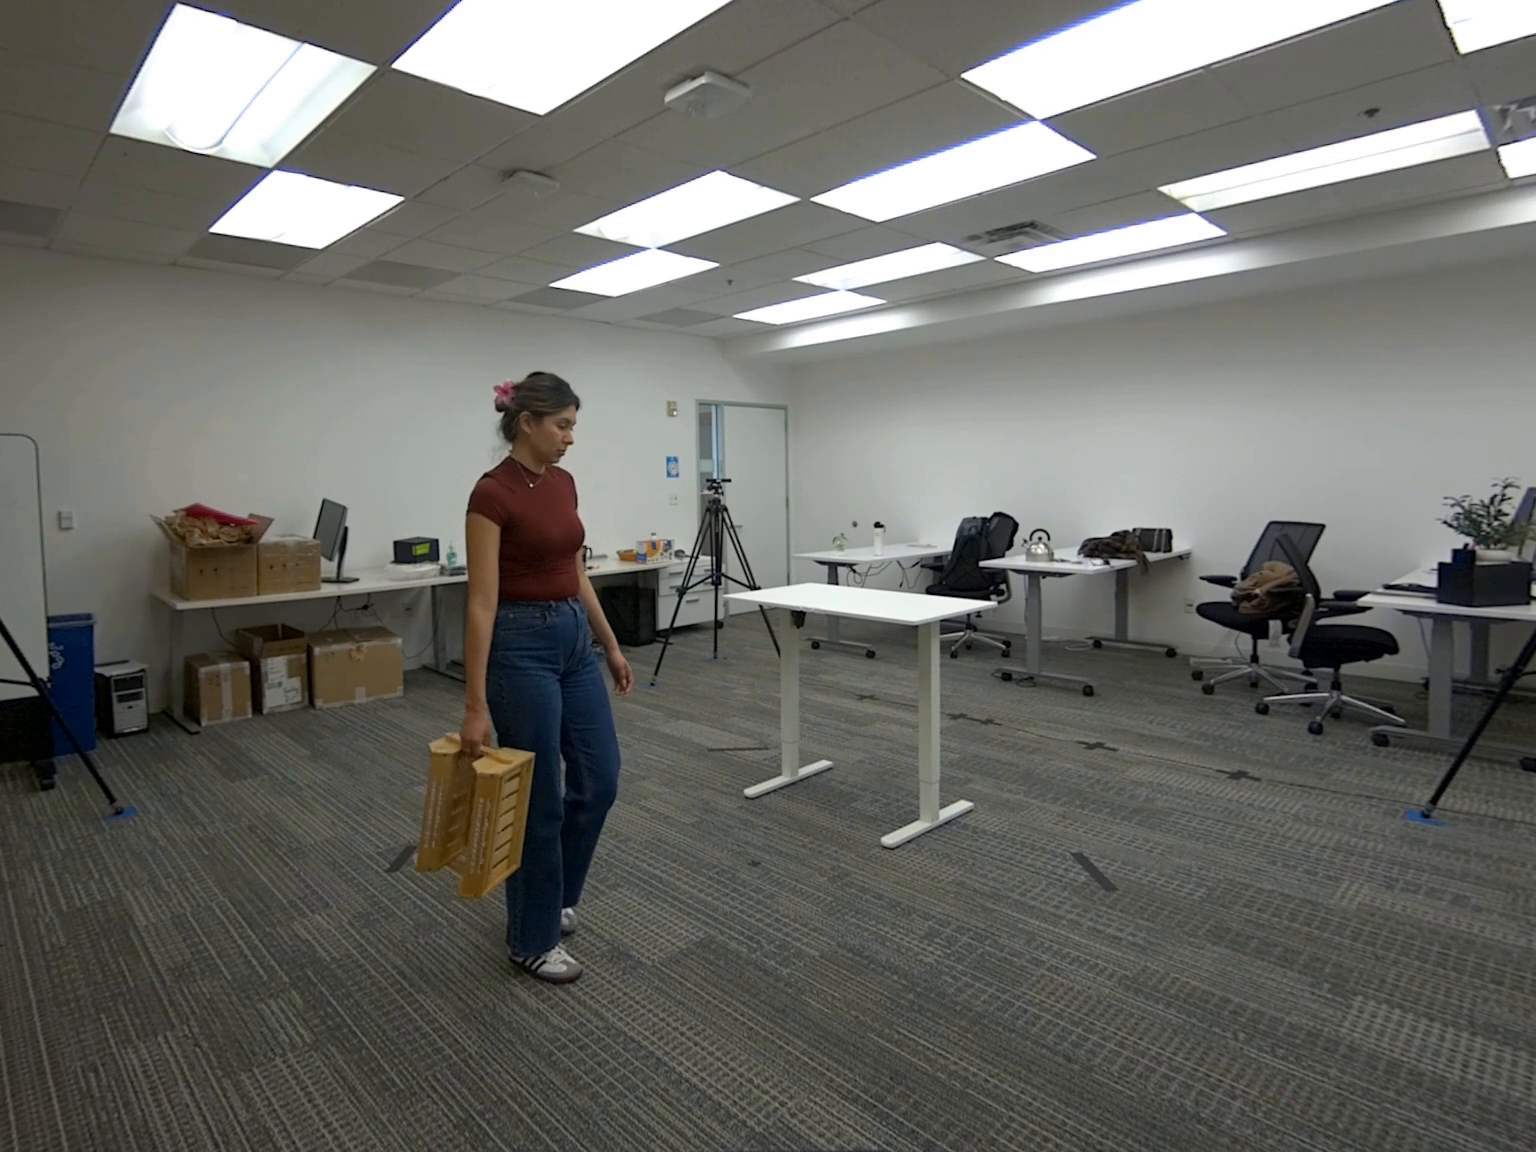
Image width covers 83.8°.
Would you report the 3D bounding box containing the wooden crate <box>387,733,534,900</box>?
[{"bbox_3d":[-0.780,0.604,2.192,0.276,0.325,0.299,7,0,8],"label":"wooden crate"}]
